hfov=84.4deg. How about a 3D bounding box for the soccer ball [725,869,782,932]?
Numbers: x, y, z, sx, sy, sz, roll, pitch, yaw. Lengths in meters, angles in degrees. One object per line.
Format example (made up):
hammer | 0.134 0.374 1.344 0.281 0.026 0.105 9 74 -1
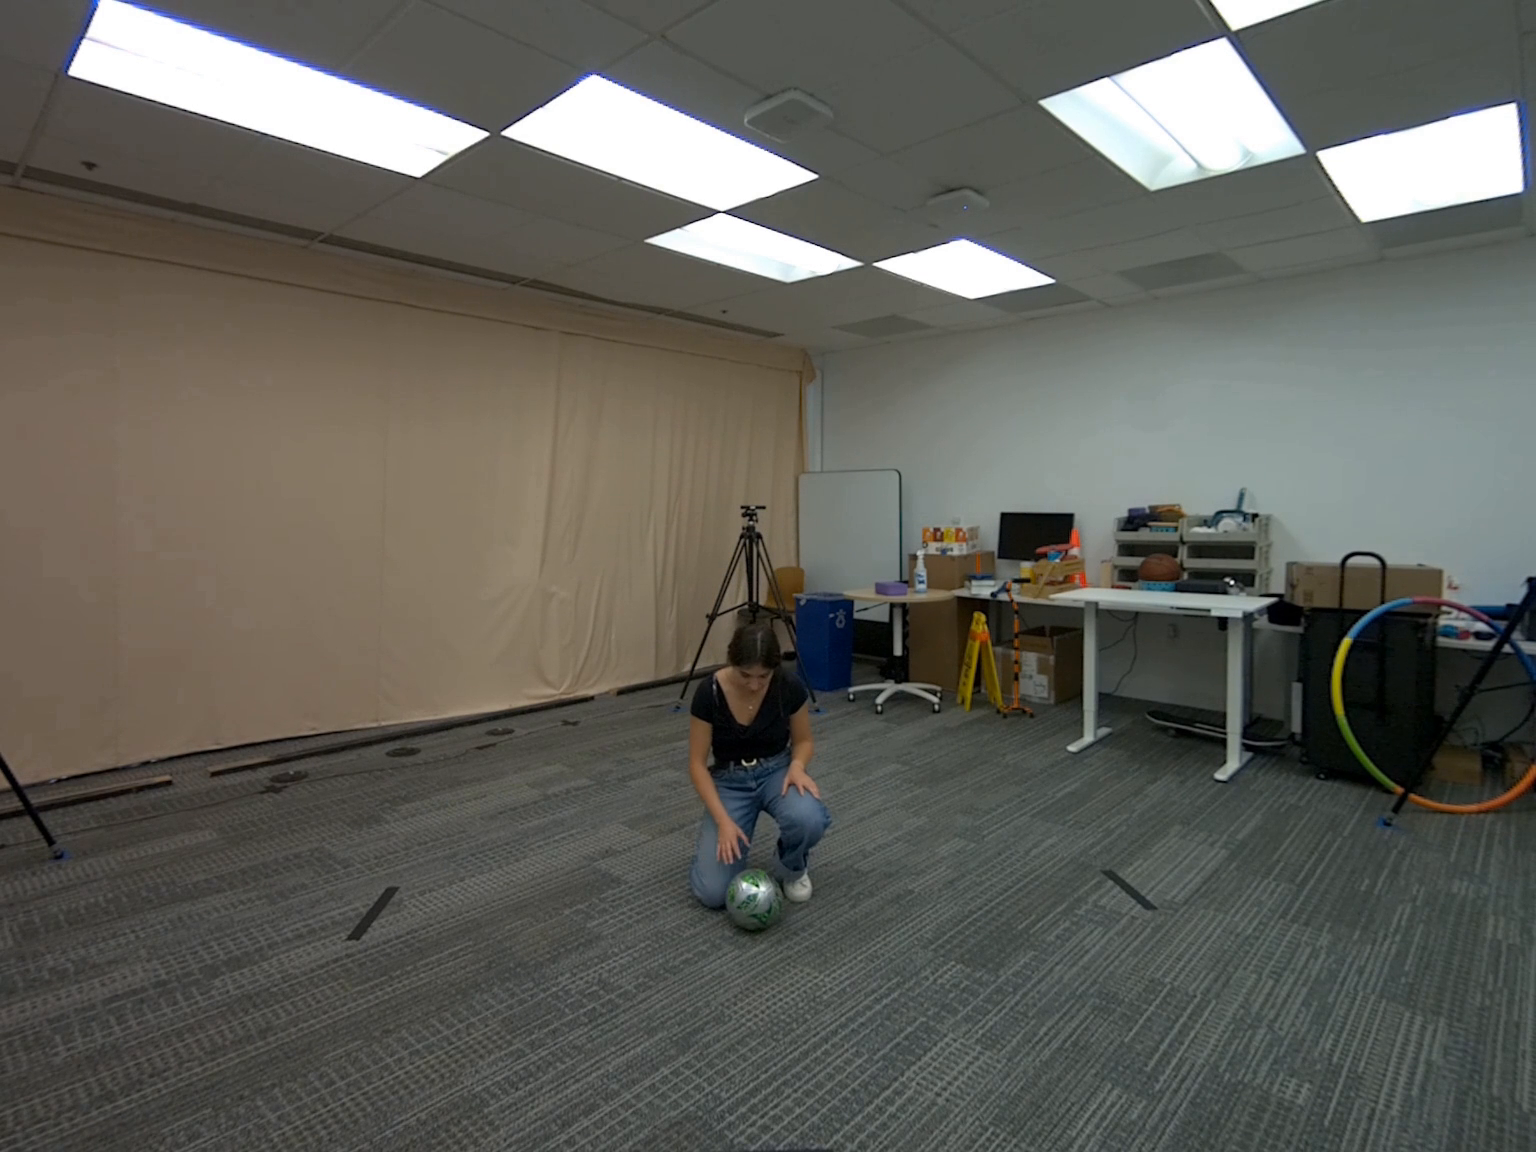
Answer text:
soccer ball | -0.045 1.058 2.781 0.187 0.187 0.188 0 4 -2
